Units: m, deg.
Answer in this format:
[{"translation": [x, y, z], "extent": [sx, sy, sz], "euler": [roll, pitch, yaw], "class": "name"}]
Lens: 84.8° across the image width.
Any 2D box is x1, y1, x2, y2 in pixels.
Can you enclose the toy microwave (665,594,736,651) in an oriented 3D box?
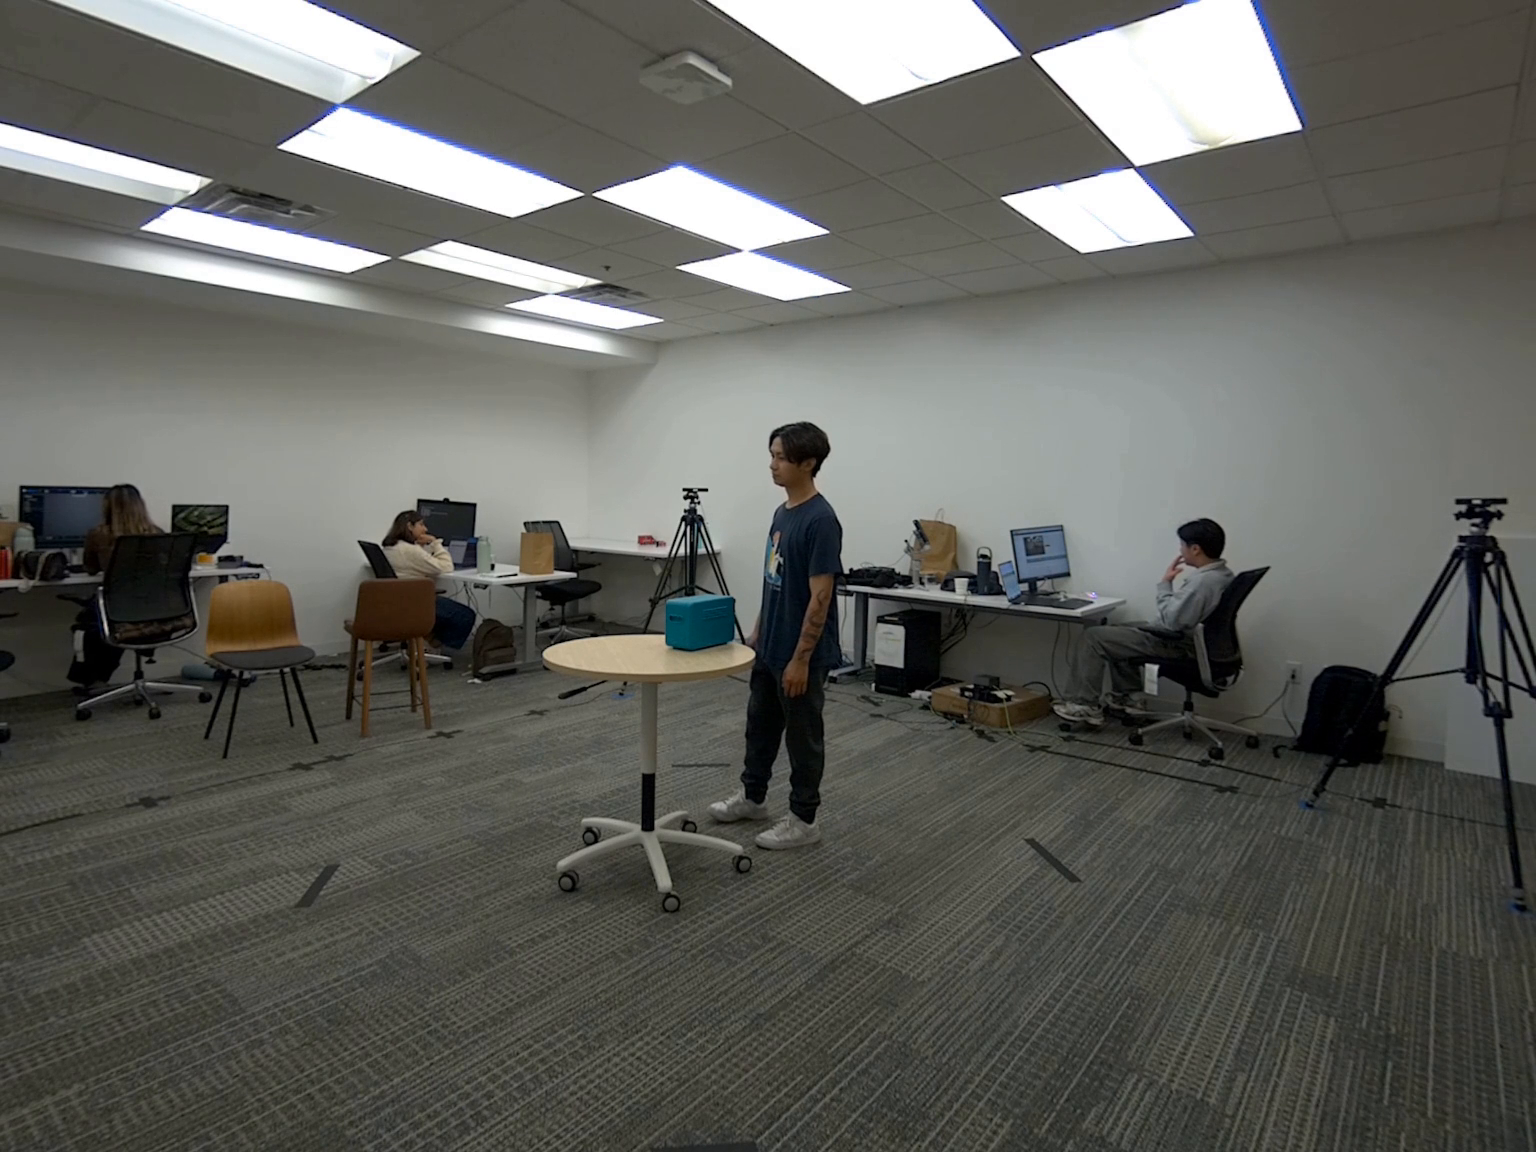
[{"translation": [-0.275, 0.169, 3.238], "extent": [0.157, 0.183, 0.278], "euler": [4, 5, 36], "class": "toy microwave"}]
